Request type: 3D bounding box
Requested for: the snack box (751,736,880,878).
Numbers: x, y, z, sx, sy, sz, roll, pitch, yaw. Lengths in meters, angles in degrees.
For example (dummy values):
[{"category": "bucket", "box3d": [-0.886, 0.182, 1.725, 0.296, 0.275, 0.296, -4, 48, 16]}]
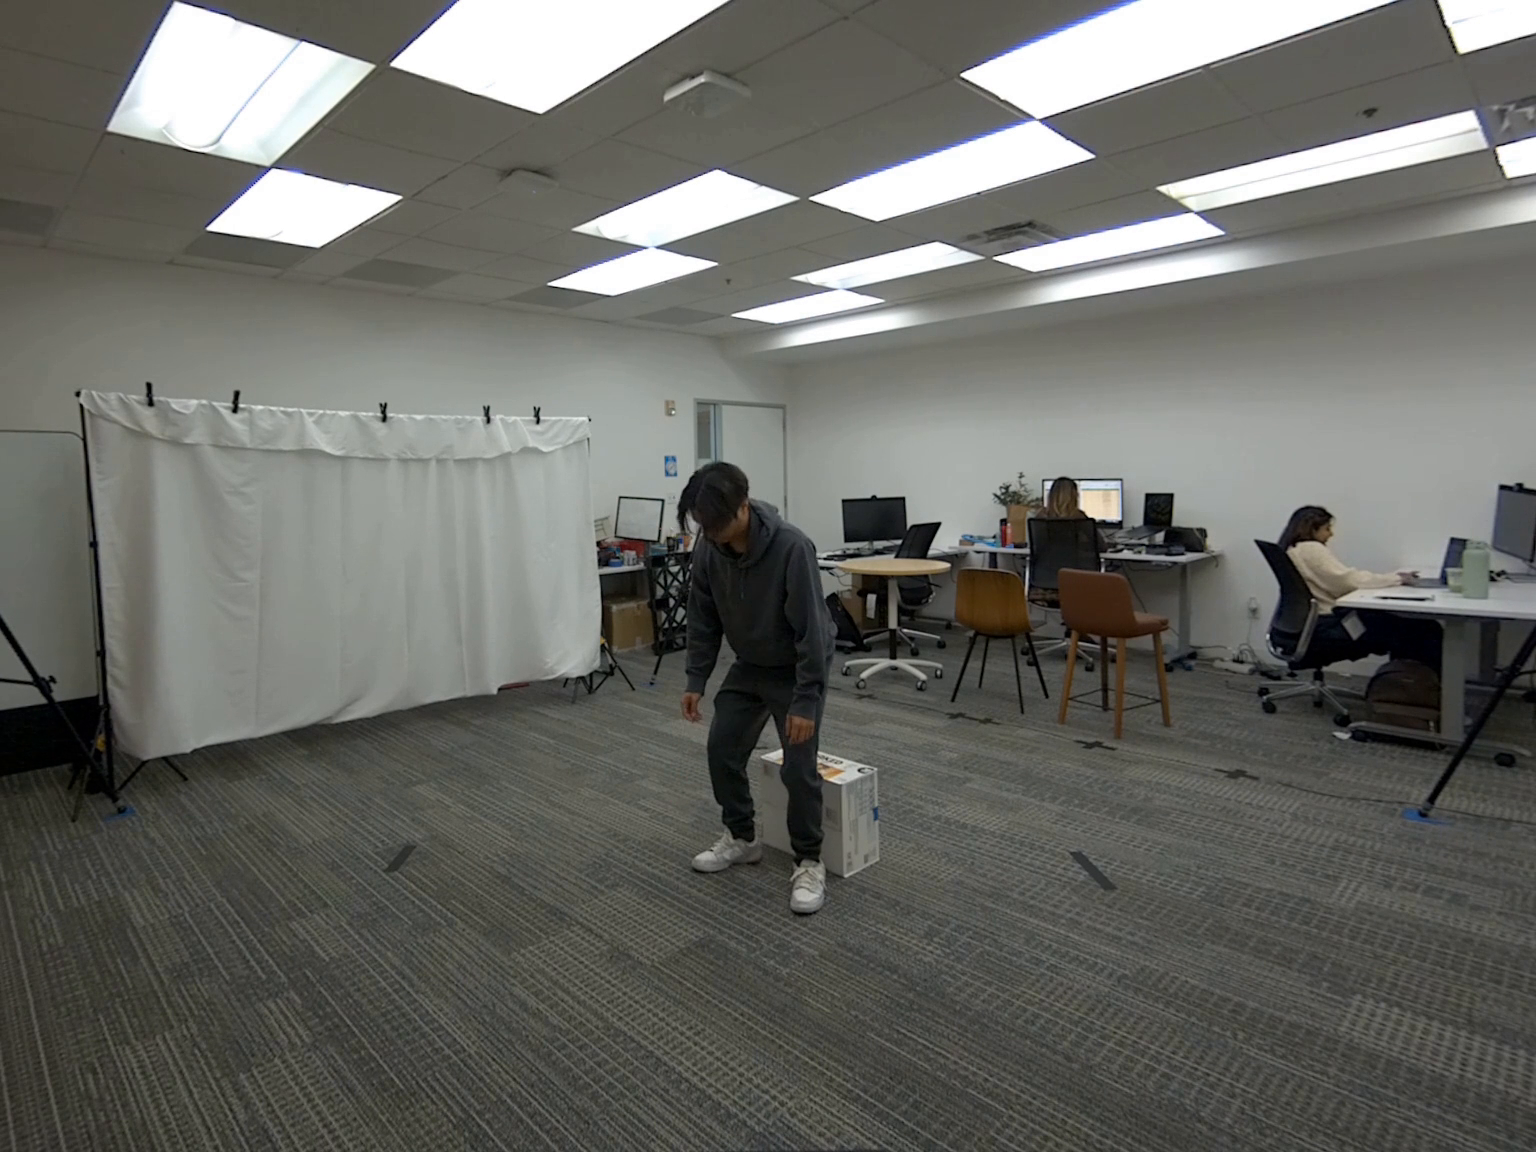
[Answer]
[{"category": "snack box", "box3d": [0.191, 0.862, 3.179, 0.200, 0.339, 0.418, -7, 8, -44]}]
